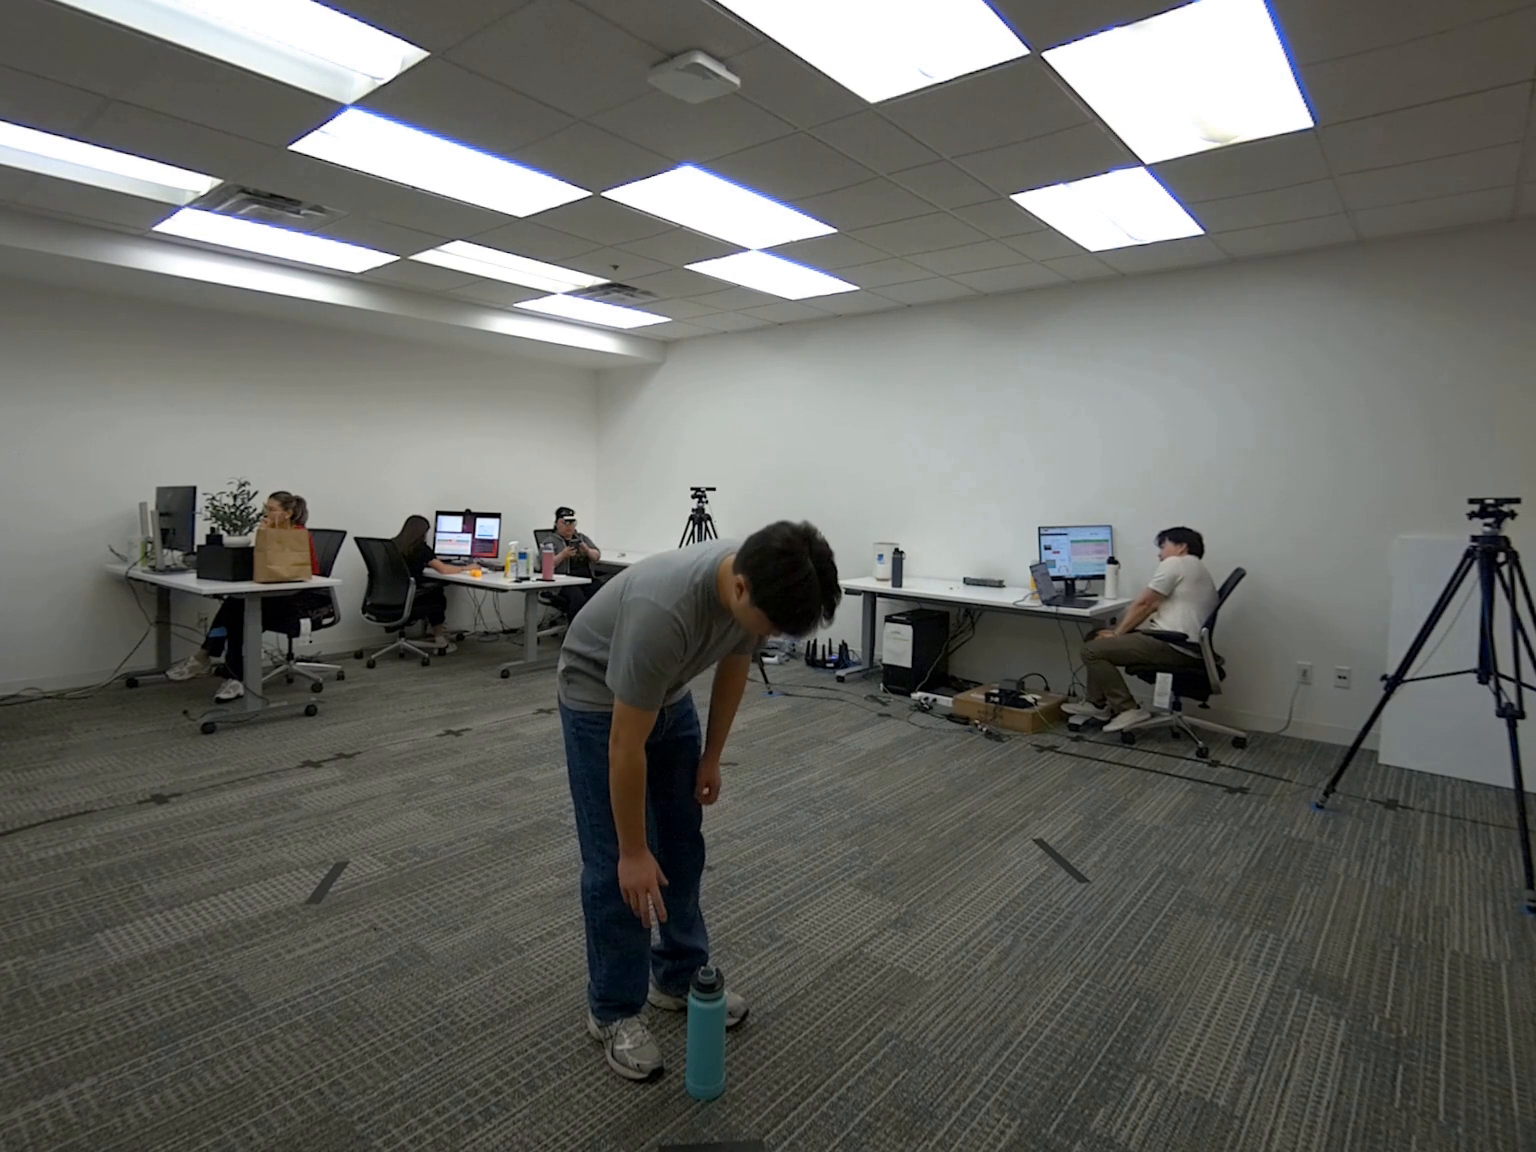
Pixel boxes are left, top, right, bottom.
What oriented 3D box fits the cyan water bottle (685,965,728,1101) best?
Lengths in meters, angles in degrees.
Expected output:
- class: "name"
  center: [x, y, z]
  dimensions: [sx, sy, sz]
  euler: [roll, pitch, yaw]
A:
- class: "cyan water bottle"
  center: [-0.143, 1.046, 1.965]
  dimensions: [0.092, 0.283, 0.092]
  euler: [2, 2, -2]
